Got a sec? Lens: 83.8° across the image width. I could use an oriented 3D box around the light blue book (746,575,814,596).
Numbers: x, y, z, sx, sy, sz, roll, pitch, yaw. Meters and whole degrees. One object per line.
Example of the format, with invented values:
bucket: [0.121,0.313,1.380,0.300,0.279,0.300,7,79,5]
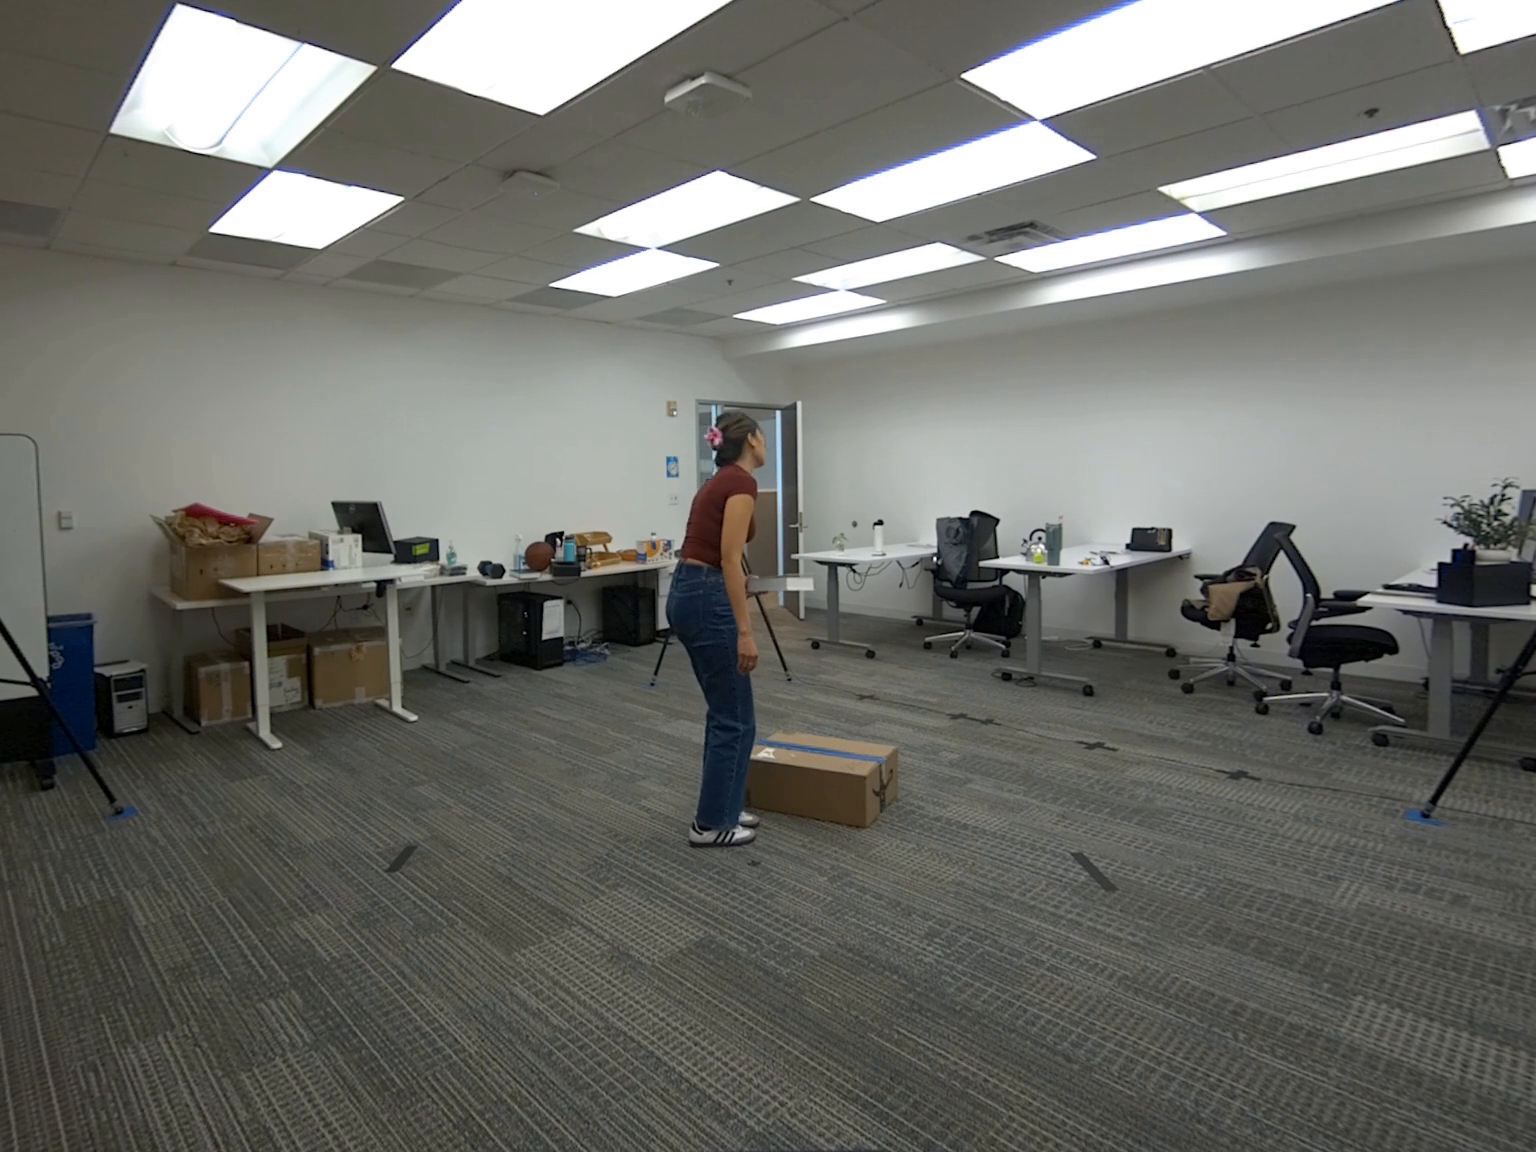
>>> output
light blue book: [0.061,0.038,3.684,0.196,0.059,0.254,-4,-1,29]
